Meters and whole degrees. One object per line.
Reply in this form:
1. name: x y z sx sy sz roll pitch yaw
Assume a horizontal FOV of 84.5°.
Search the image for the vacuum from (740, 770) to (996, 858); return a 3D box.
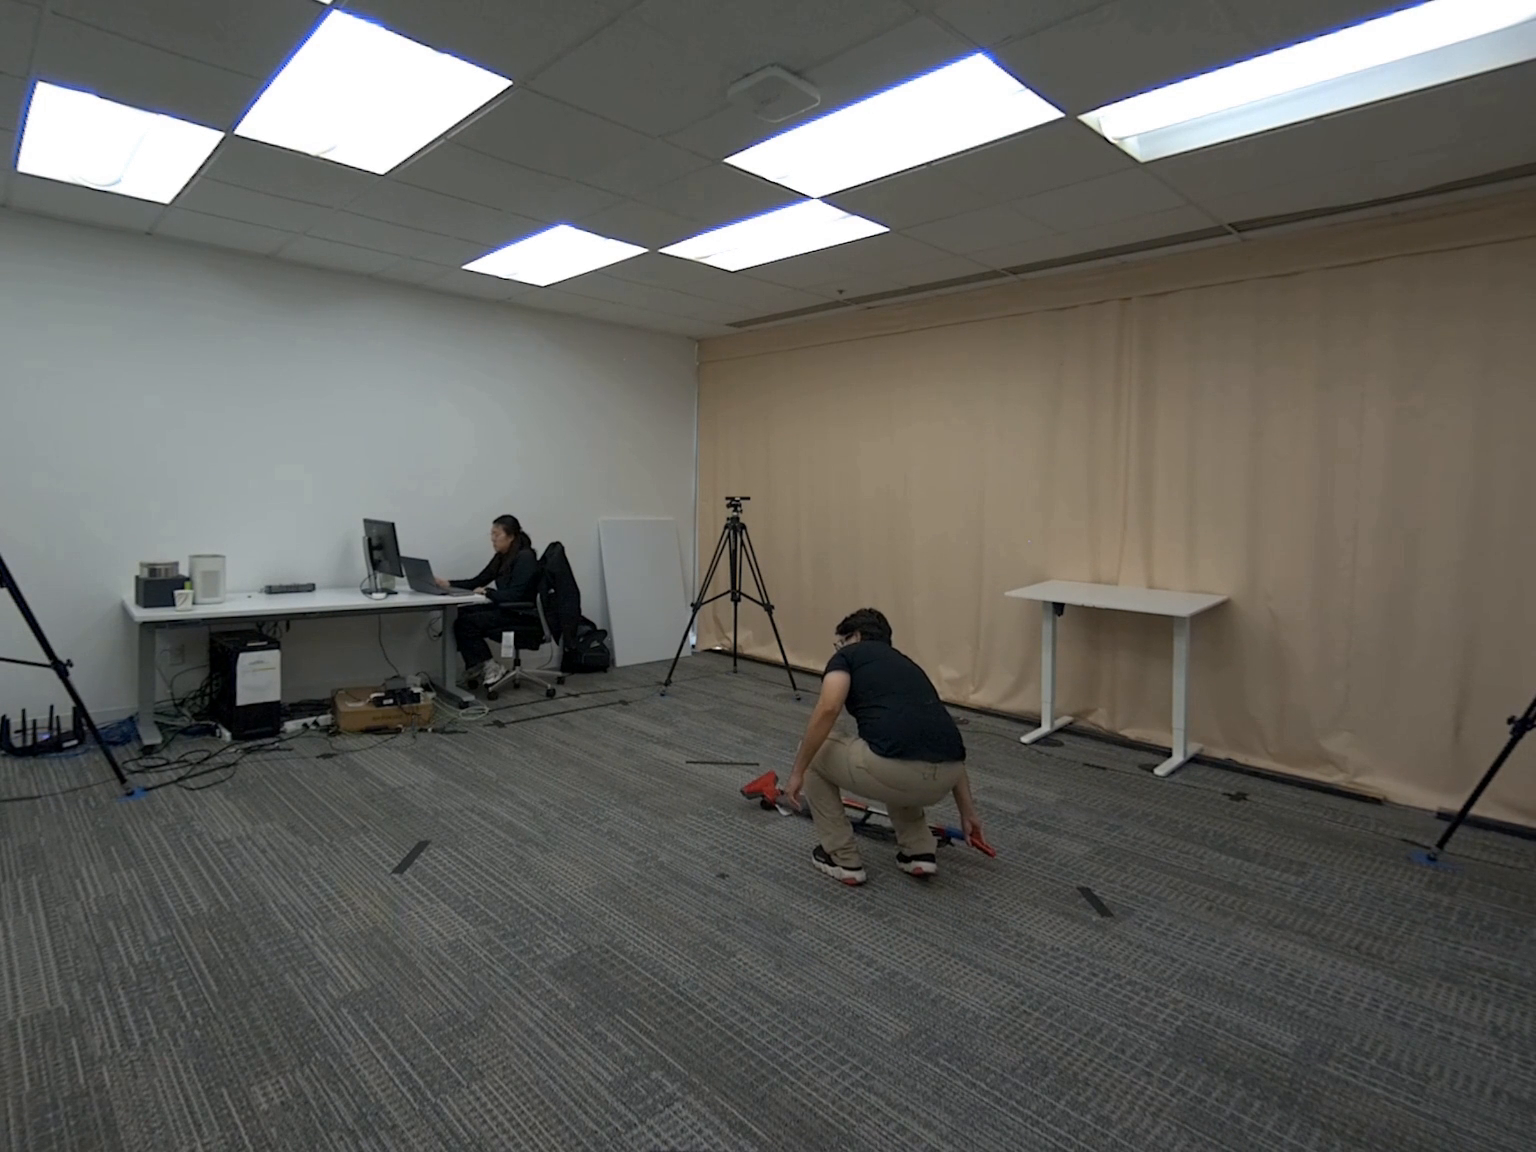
1. vacuum: 0.400 1.024 3.542 1.075 0.143 0.248 6 11 36
